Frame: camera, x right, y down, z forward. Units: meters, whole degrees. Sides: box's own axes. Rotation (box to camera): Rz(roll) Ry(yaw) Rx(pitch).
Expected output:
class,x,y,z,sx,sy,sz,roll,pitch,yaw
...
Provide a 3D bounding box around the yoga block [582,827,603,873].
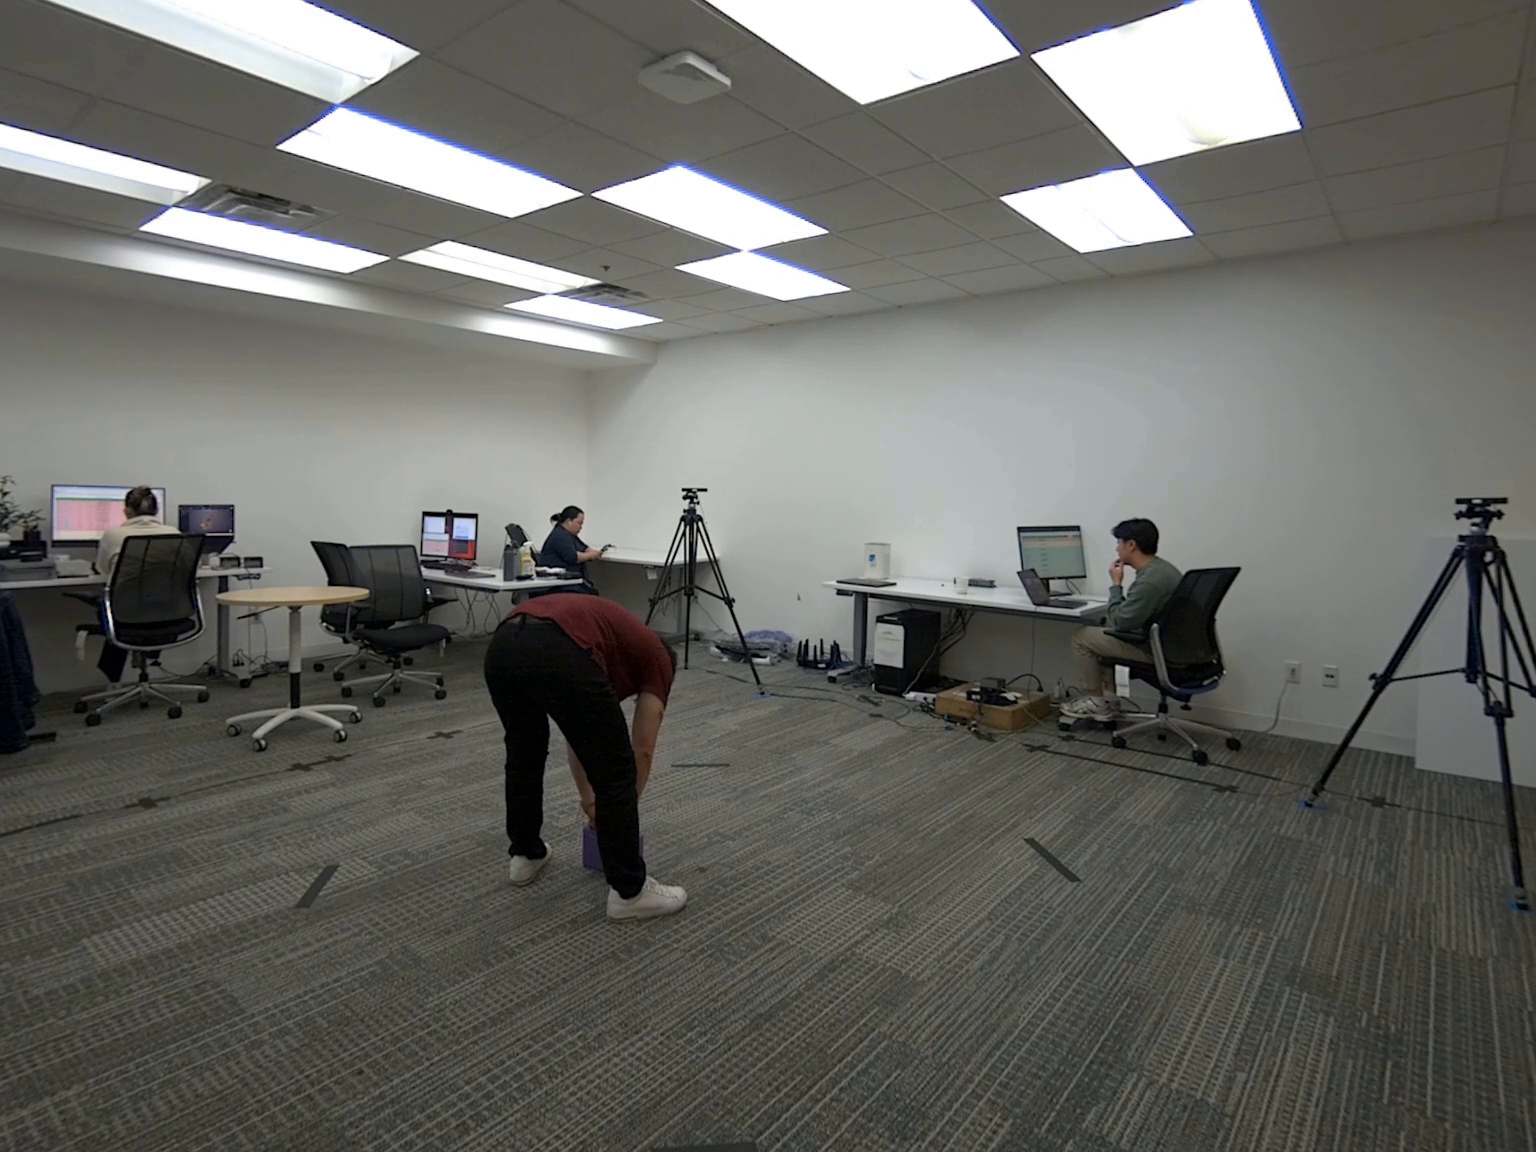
class,x,y,z,sx,sy,sz,roll,pitch,yaw
yoga block,-0.574,0.991,3.082,0.236,0.148,0.074,4,4,29
